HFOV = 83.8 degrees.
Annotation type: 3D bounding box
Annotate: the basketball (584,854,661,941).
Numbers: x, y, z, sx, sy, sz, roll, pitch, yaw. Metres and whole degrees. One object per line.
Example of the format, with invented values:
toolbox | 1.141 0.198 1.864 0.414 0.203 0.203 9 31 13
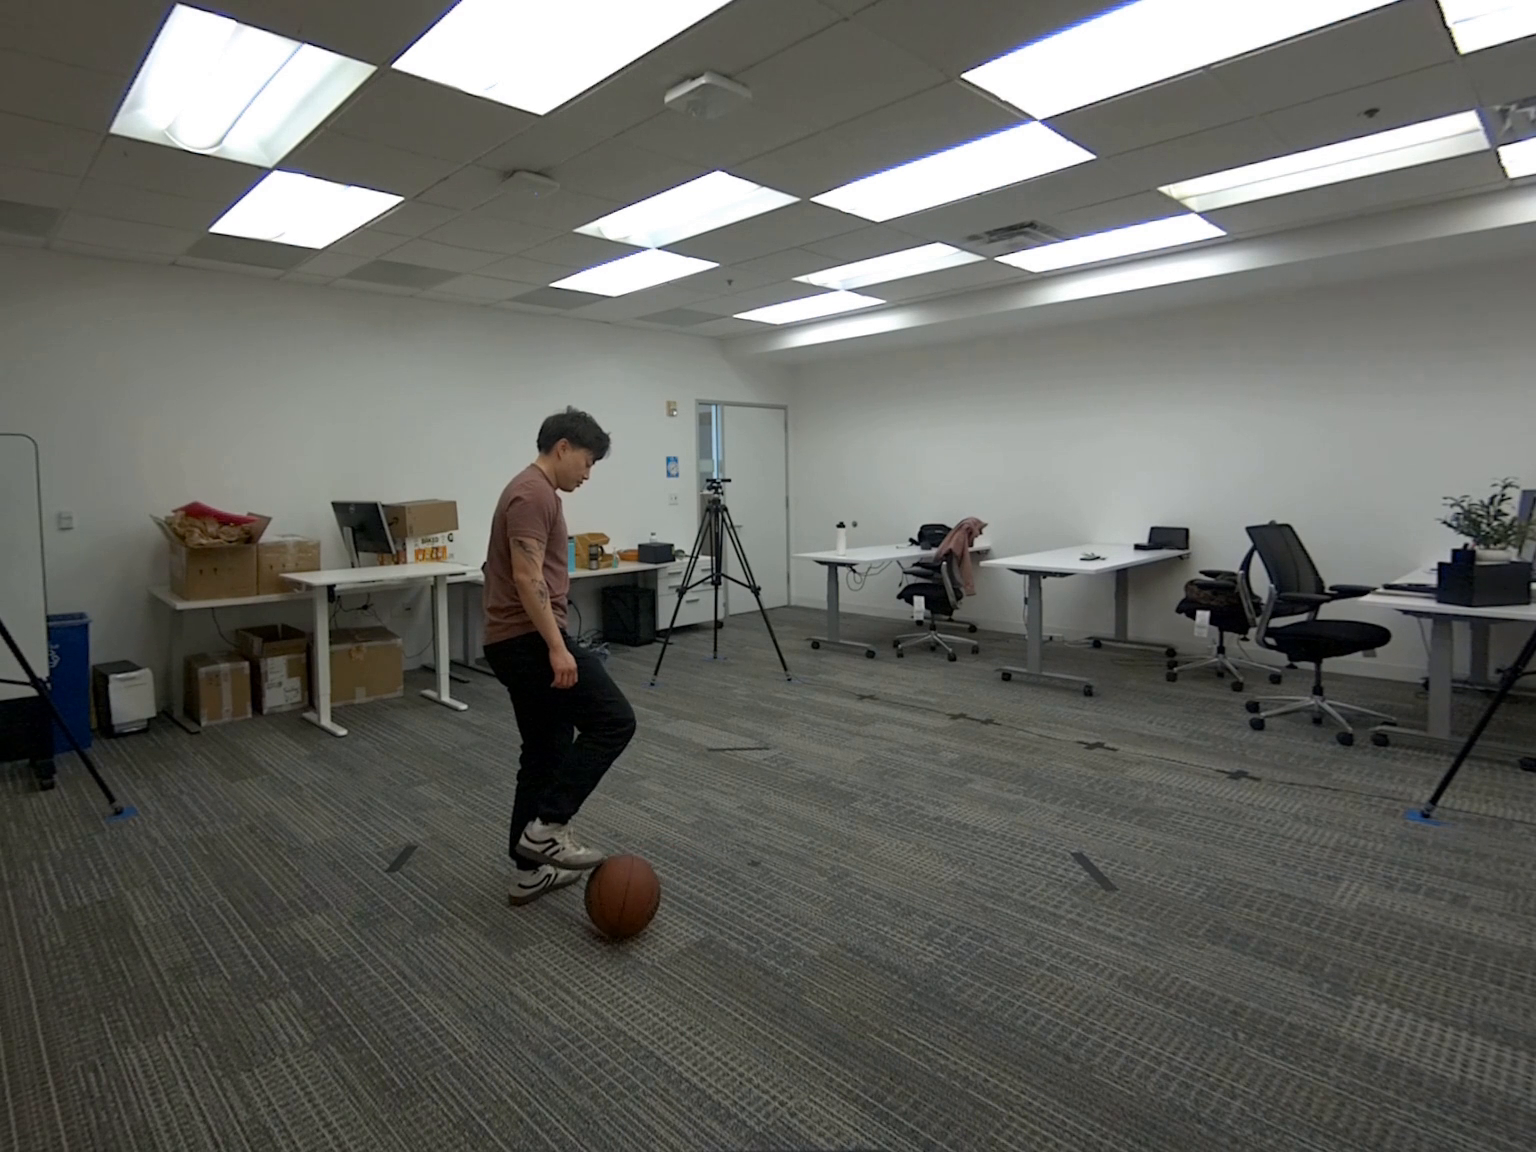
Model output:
basketball | -0.436 0.985 2.651 0.236 0.235 0.237 -1 5 -2
